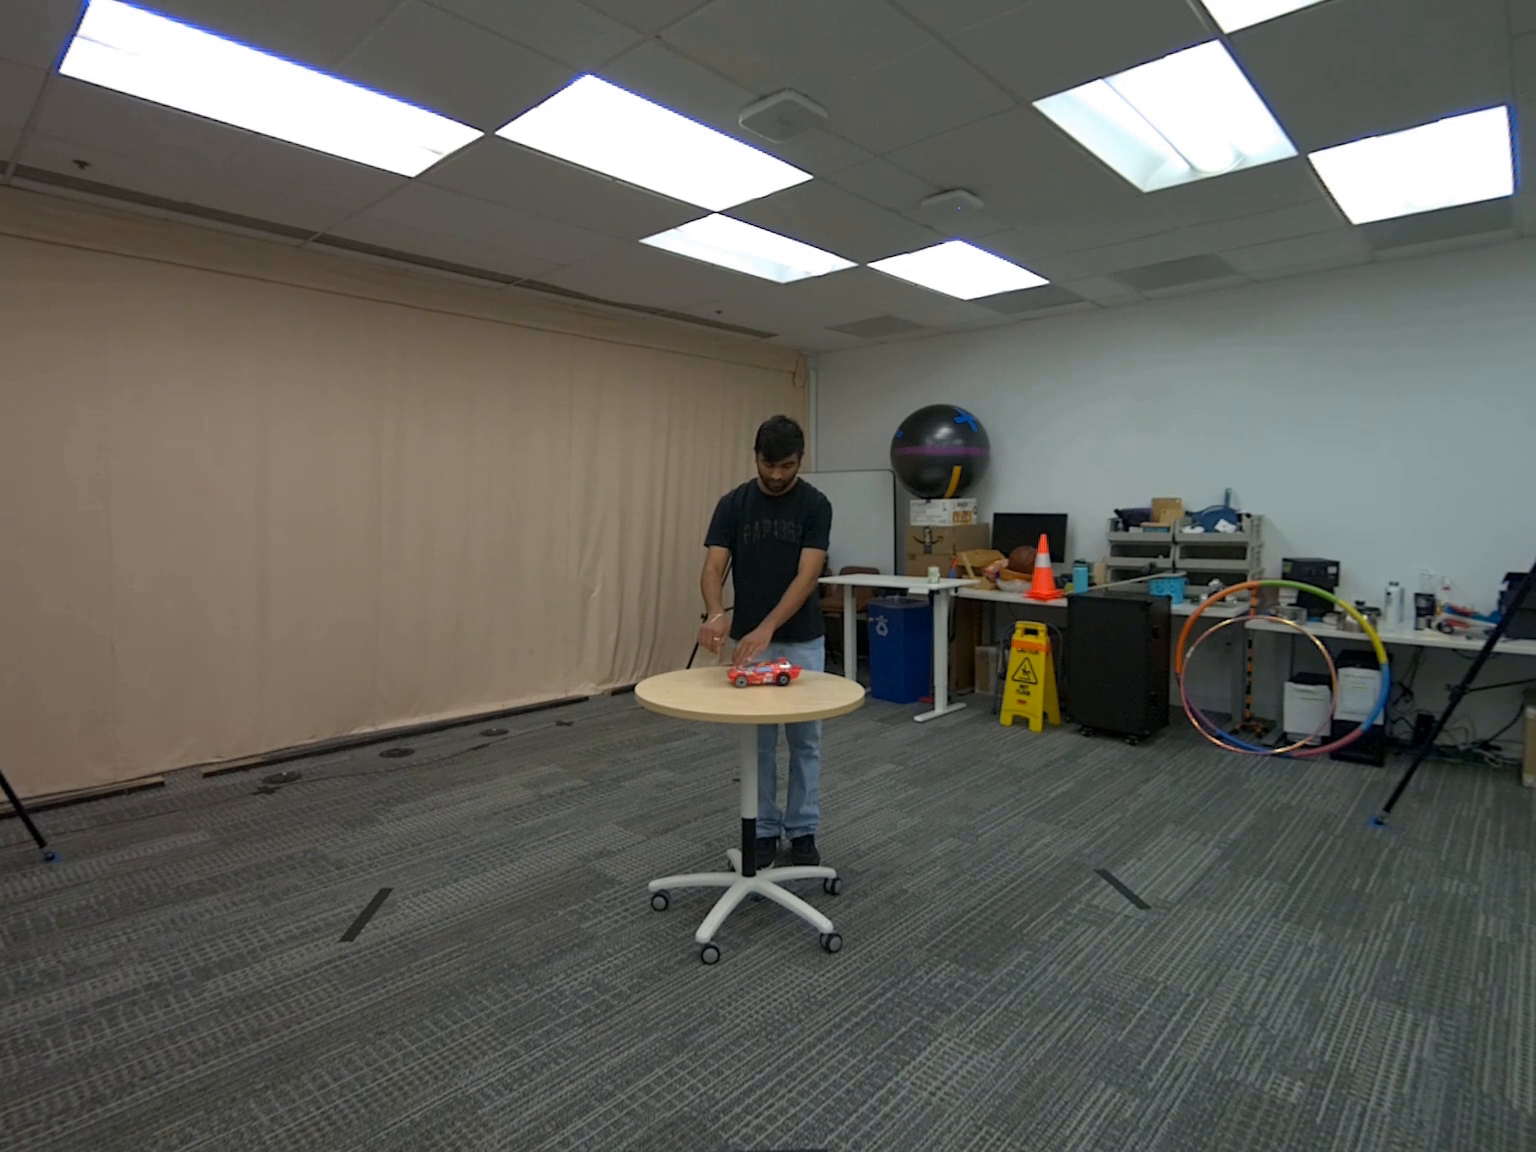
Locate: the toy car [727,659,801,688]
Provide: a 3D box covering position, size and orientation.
[{"bbox_3d":[-0.009,0.337,2.886,0.253,0.083,0.132,-12,6,-8],"label":"toy car"}]
